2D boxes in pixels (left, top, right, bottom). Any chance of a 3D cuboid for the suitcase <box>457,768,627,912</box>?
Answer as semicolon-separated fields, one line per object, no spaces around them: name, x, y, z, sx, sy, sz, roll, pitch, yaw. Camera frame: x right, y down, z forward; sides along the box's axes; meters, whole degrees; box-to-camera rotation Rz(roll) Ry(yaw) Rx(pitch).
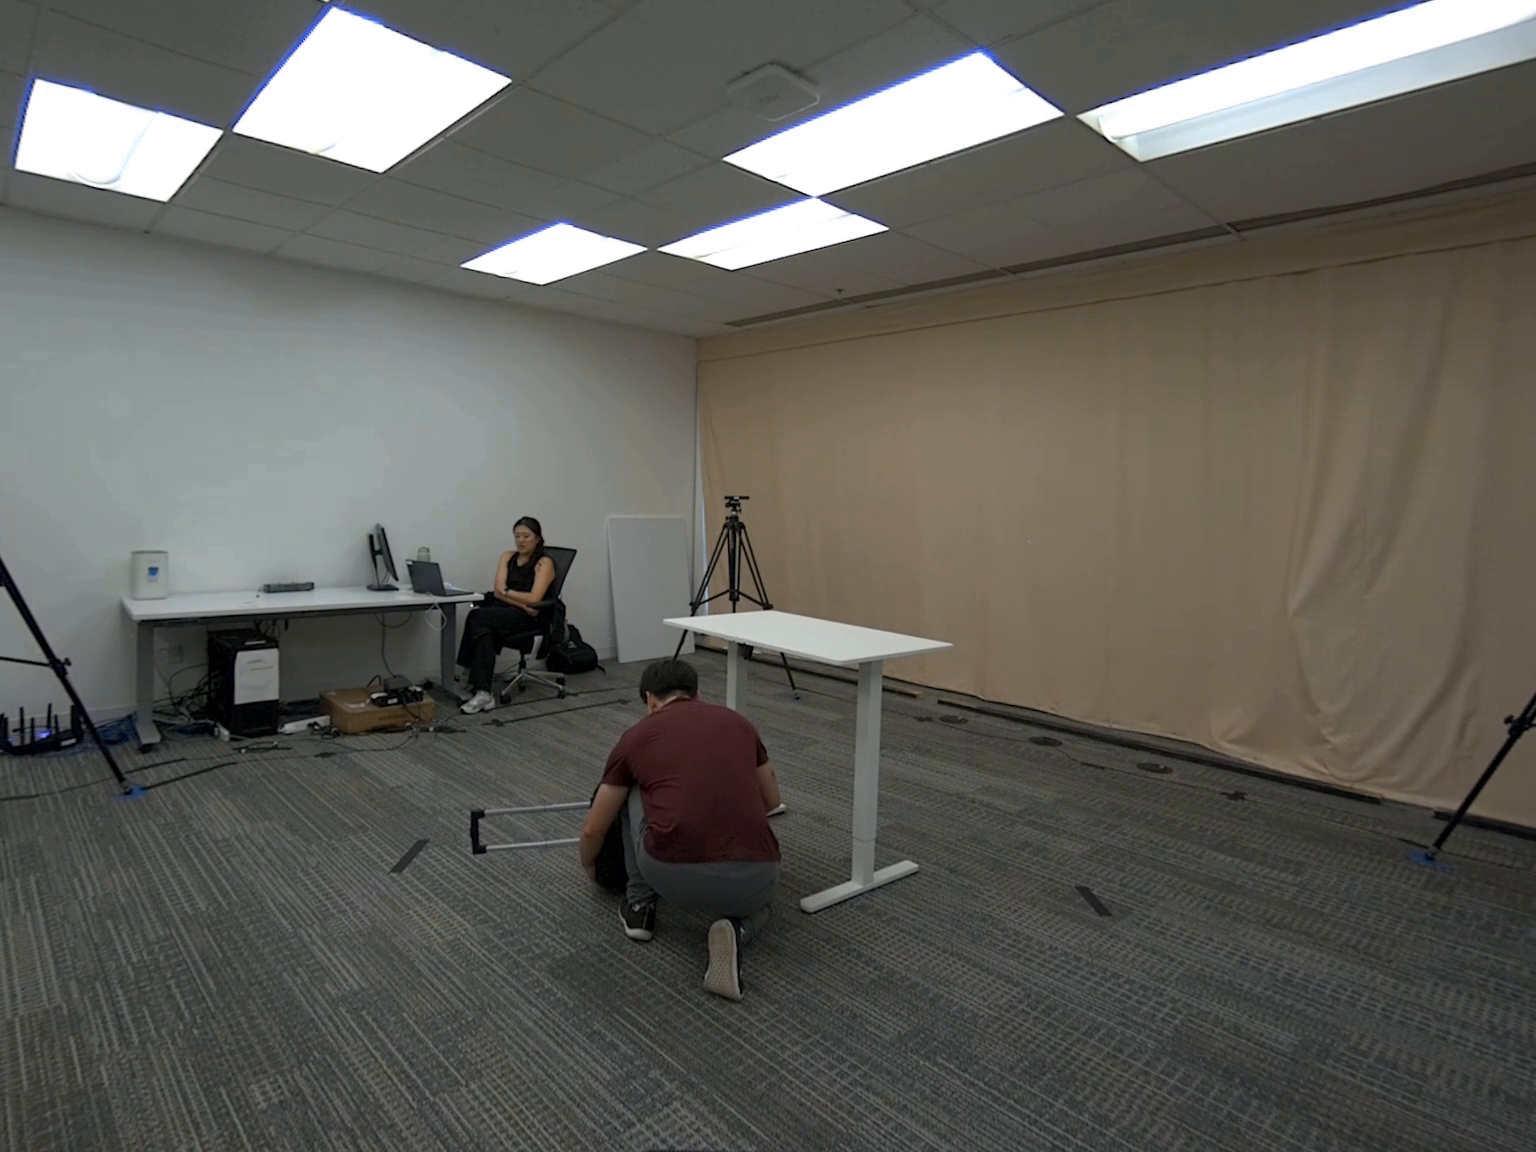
suitcase;-0.565;0.907;2.982;0.973;0.383;0.259;0;3;-6
